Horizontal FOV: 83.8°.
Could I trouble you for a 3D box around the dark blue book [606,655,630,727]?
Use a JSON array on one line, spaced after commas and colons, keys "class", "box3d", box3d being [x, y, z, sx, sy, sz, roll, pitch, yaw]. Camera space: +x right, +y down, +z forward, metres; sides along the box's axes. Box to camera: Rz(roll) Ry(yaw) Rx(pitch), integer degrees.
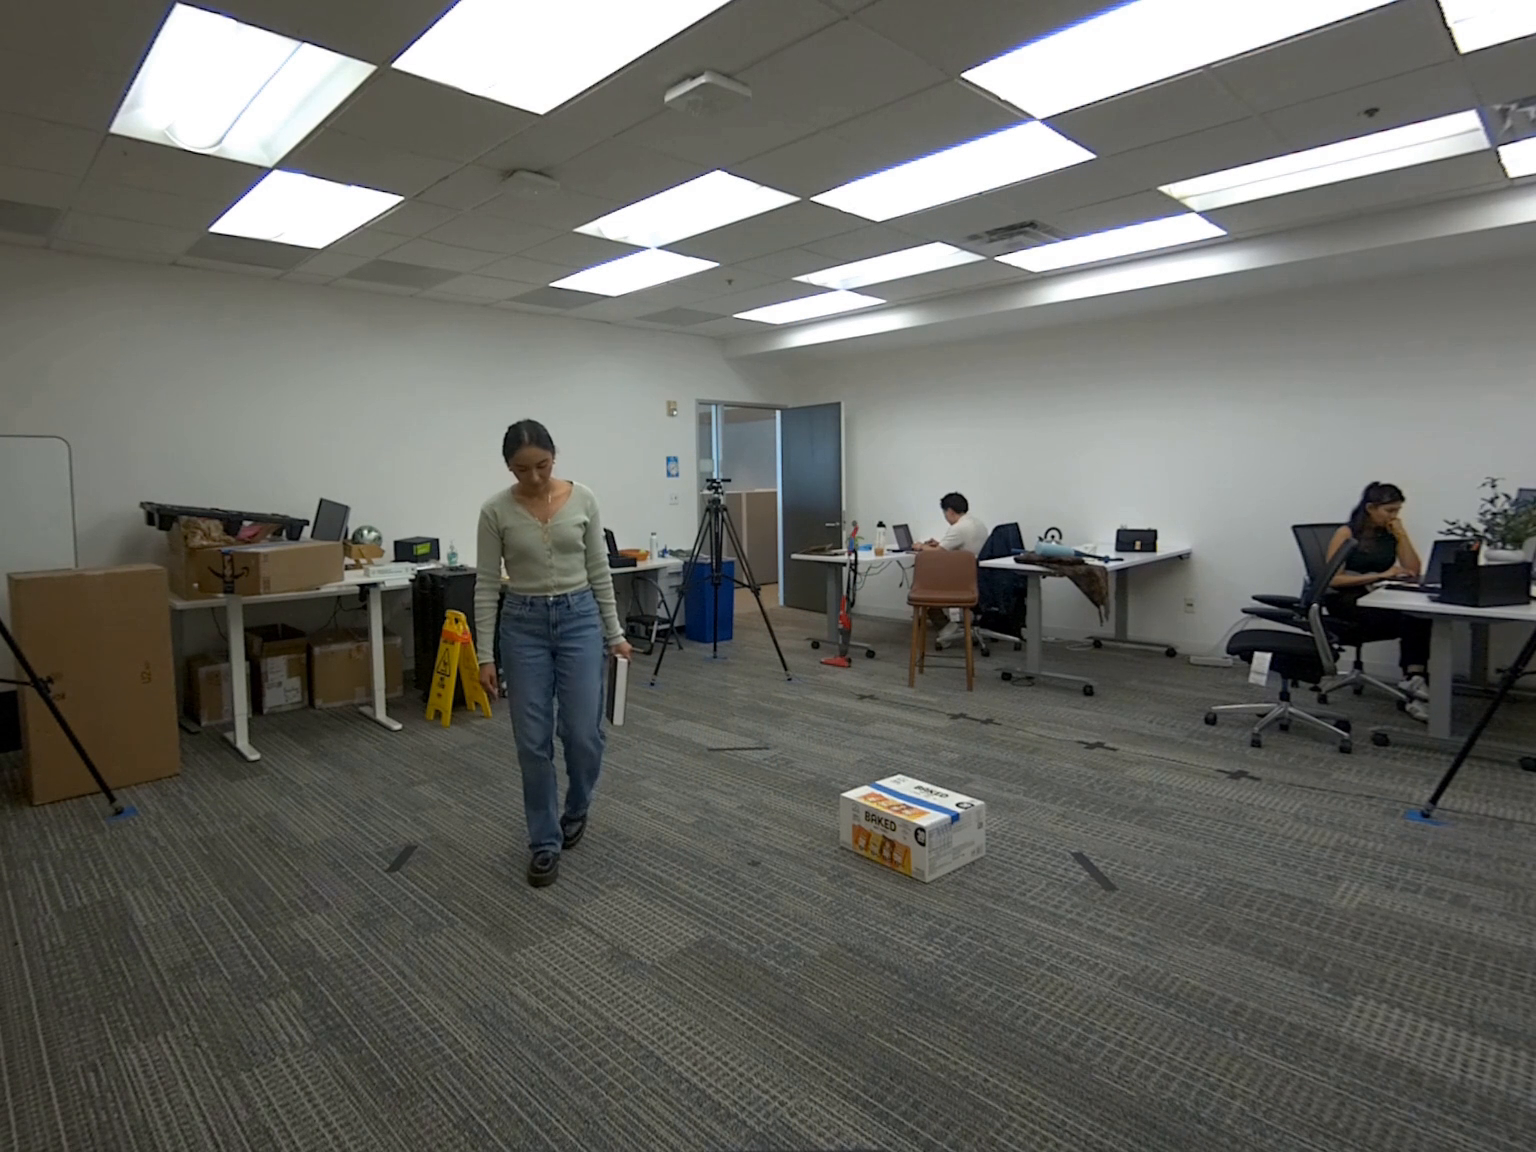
[{"class": "dark blue book", "box3d": [-0.568, 0.418, 3.173, 0.044, 0.245, 0.166, 3, 2, -18]}]
